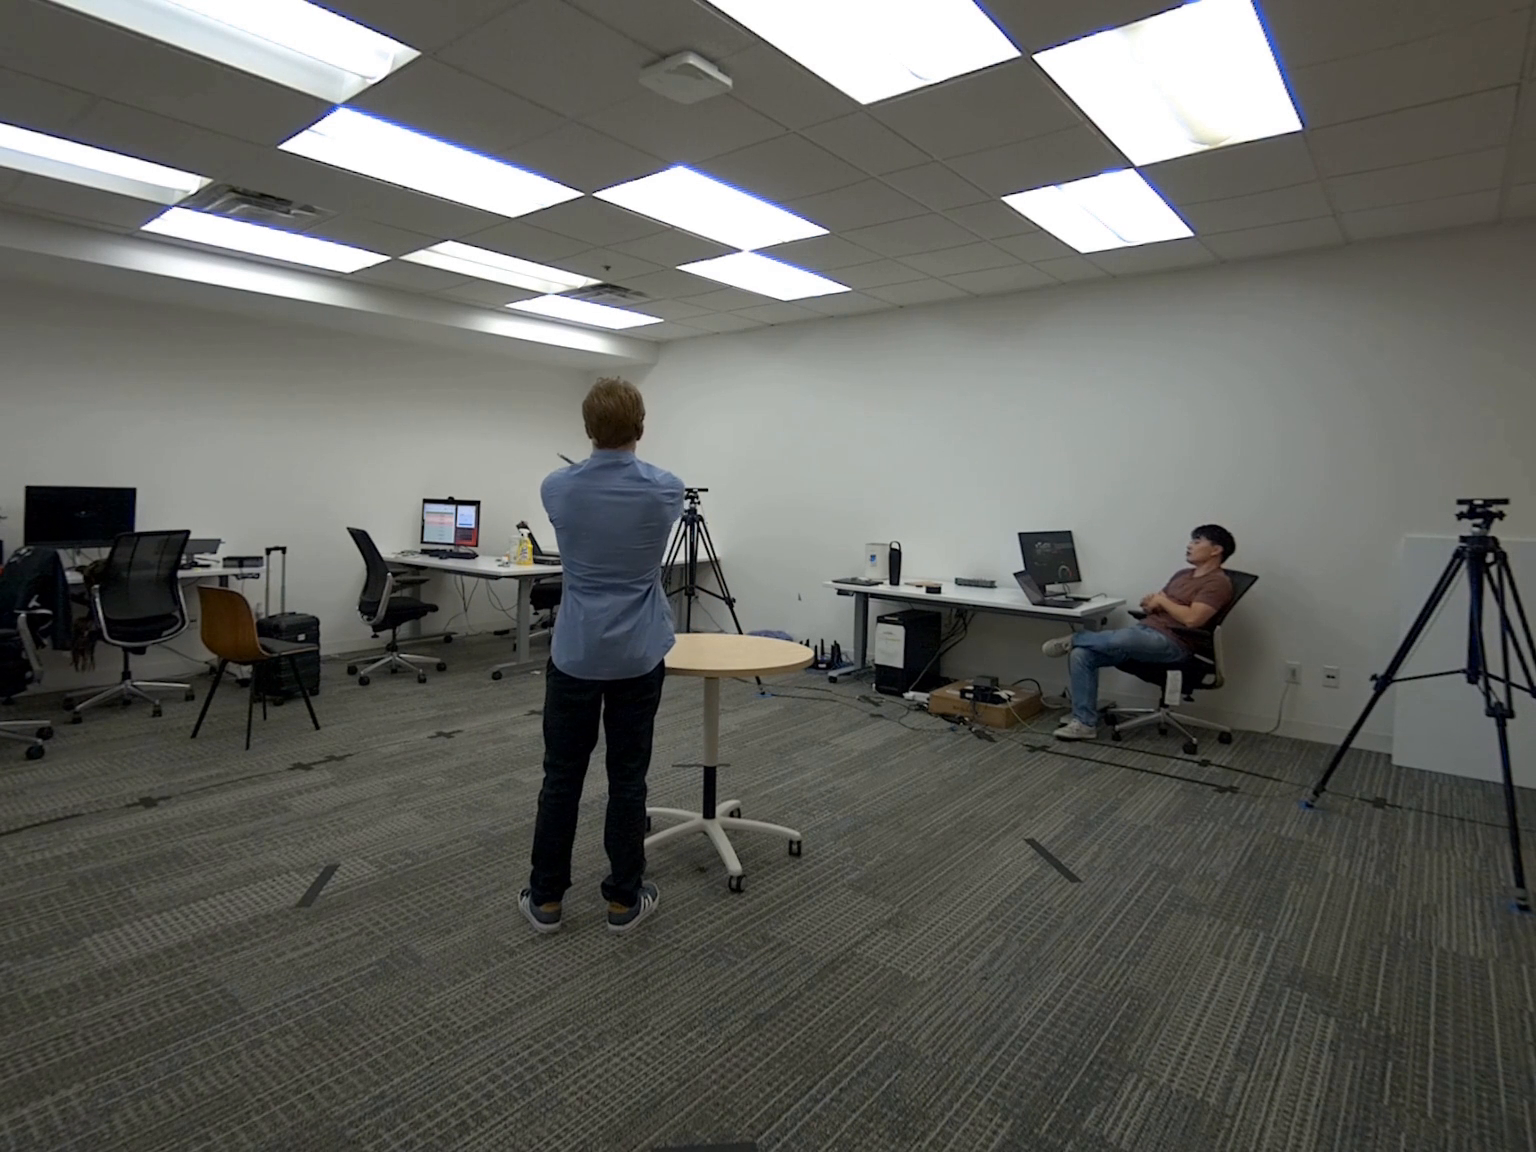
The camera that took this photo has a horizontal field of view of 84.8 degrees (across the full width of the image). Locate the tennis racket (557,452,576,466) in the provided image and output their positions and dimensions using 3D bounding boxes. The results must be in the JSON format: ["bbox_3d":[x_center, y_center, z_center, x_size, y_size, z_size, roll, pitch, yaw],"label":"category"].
[{"bbox_3d":[-0.669,-0.370,3.279,0.451,0.032,0.205,35,-3,35],"label":"tennis racket"}]
